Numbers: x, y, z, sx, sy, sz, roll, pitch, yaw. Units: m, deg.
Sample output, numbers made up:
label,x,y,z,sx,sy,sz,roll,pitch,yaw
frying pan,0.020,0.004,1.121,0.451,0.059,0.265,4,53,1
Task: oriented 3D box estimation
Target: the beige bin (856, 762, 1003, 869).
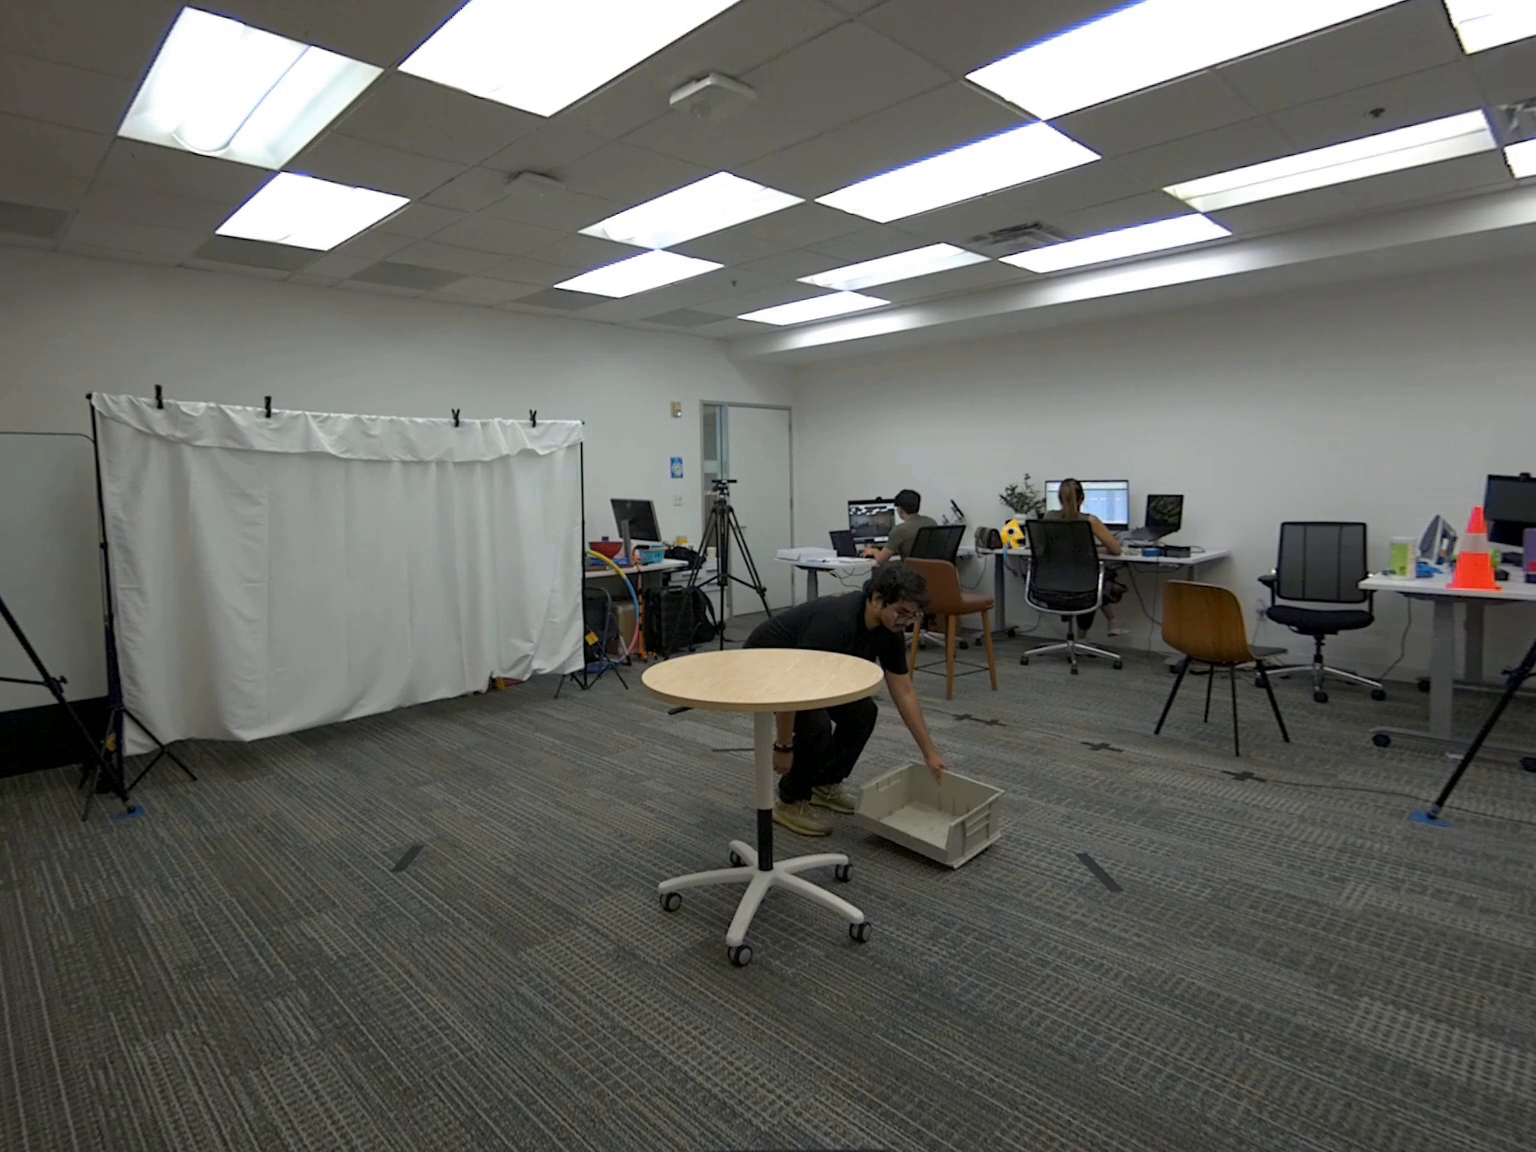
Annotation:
label,x,y,z,sx,sy,sz,roll,pitch,yaw
beige bin,0.613,0.890,3.243,0.368,0.187,0.436,-9,12,-42
